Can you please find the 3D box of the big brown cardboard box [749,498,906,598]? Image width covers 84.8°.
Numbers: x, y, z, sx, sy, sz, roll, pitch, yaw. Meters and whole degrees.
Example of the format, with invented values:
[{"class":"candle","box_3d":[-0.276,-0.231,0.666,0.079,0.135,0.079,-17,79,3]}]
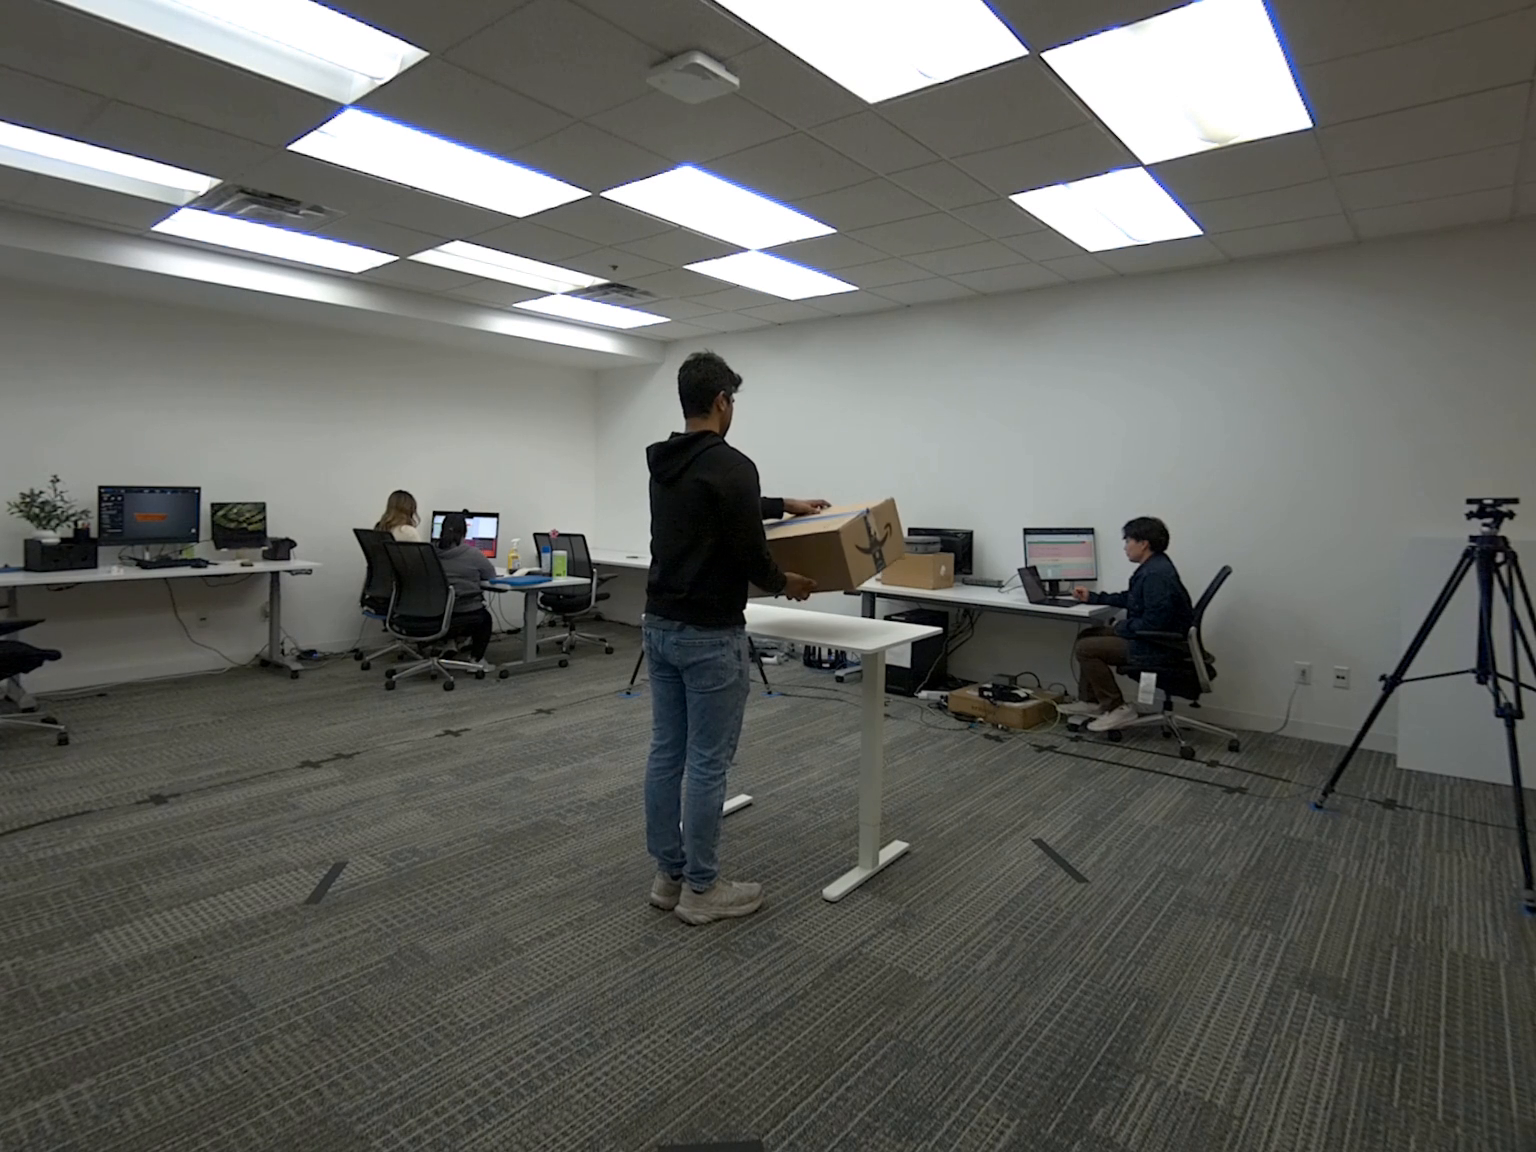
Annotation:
[{"class":"big brown cardboard box","box_3d":[0.133,-0.099,3.128,0.605,0.230,0.411,-5,15,38]}]
